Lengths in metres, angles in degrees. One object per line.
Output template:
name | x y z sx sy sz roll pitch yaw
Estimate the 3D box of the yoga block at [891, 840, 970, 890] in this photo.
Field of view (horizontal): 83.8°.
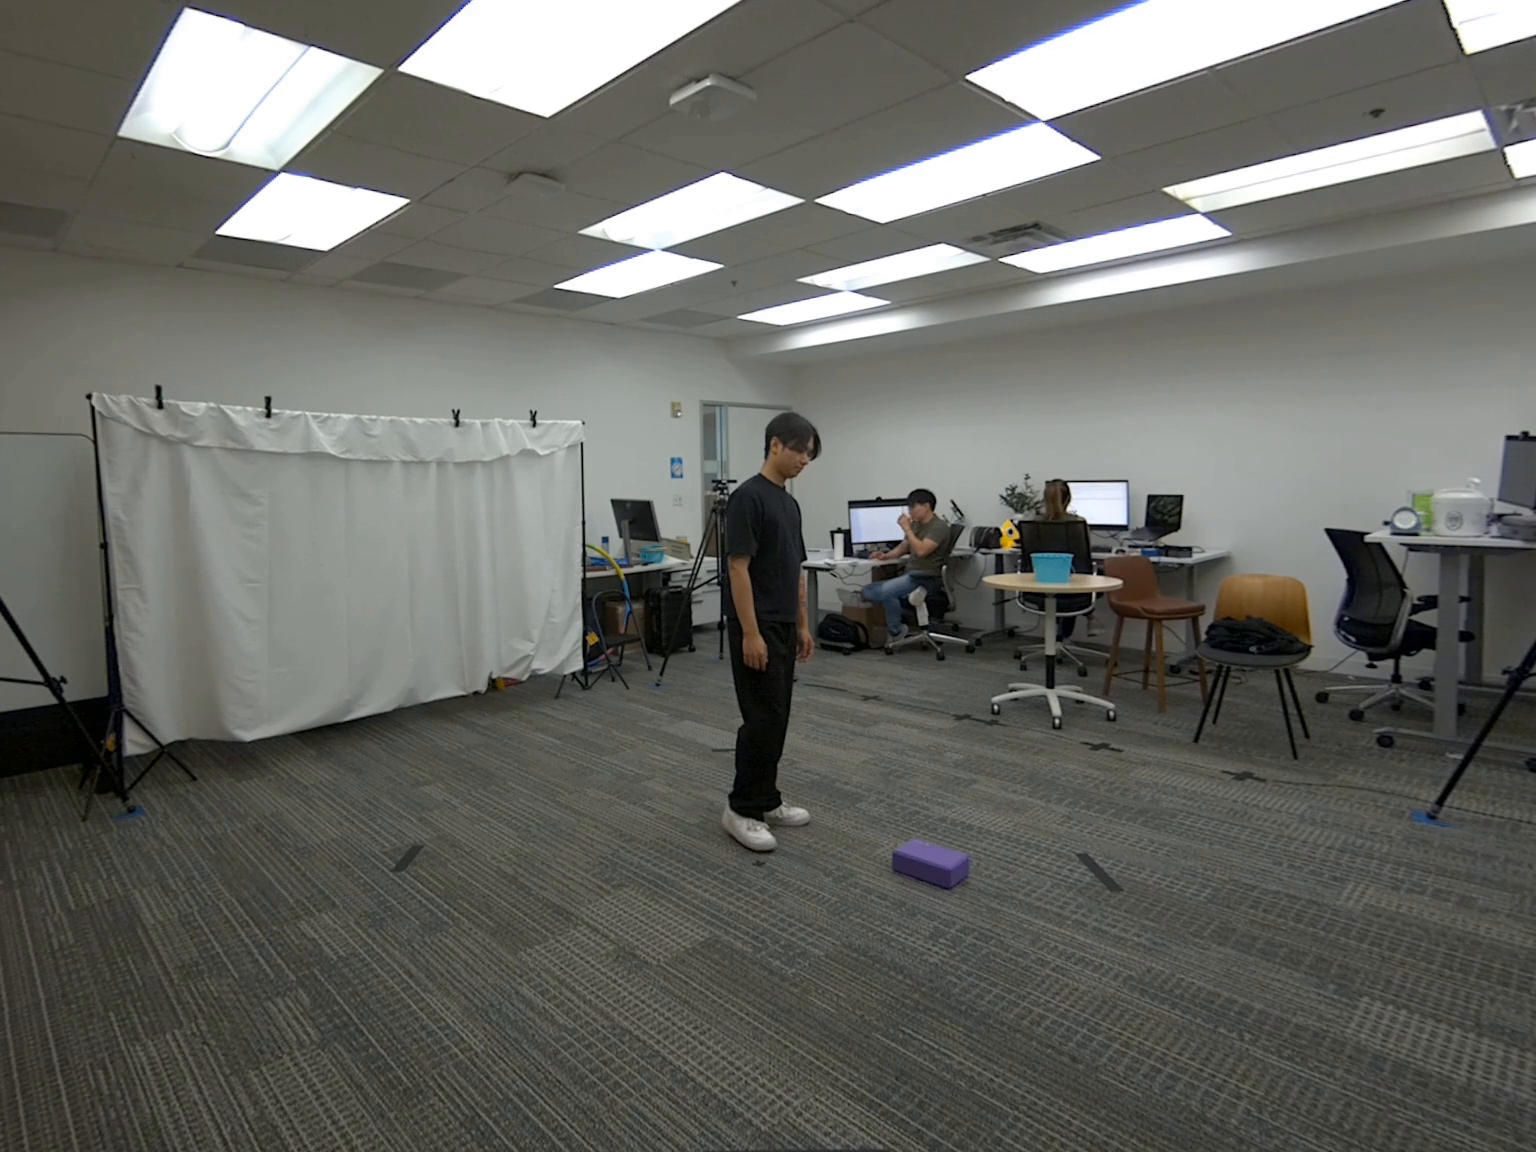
yoga block | 0.576 1.011 3.004 0.236 0.076 0.145 4 7 41
